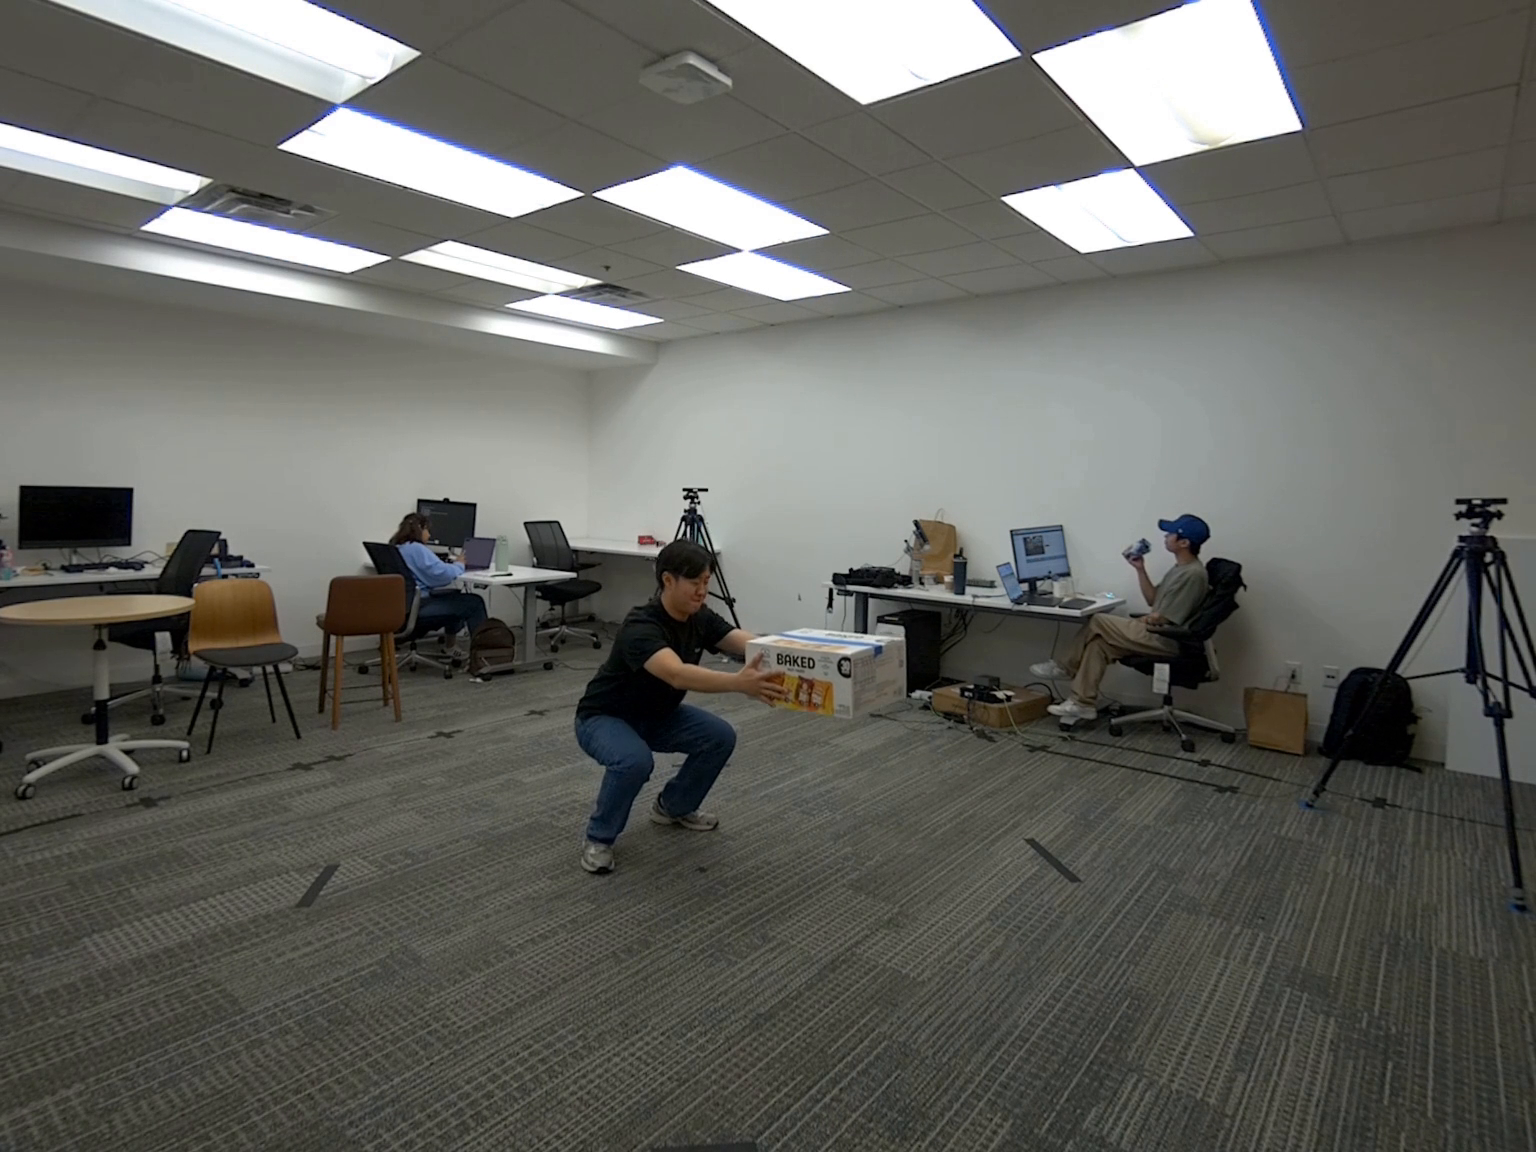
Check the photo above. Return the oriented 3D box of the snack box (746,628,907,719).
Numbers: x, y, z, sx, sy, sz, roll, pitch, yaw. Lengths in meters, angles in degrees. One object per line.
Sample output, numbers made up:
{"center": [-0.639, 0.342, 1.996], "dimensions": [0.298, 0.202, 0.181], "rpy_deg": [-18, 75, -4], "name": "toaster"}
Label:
{"center": [0.182, 0.302, 2.803], "dimensions": [0.418, 0.205, 0.331], "rpy_deg": [3, 7, 39], "name": "snack box"}
